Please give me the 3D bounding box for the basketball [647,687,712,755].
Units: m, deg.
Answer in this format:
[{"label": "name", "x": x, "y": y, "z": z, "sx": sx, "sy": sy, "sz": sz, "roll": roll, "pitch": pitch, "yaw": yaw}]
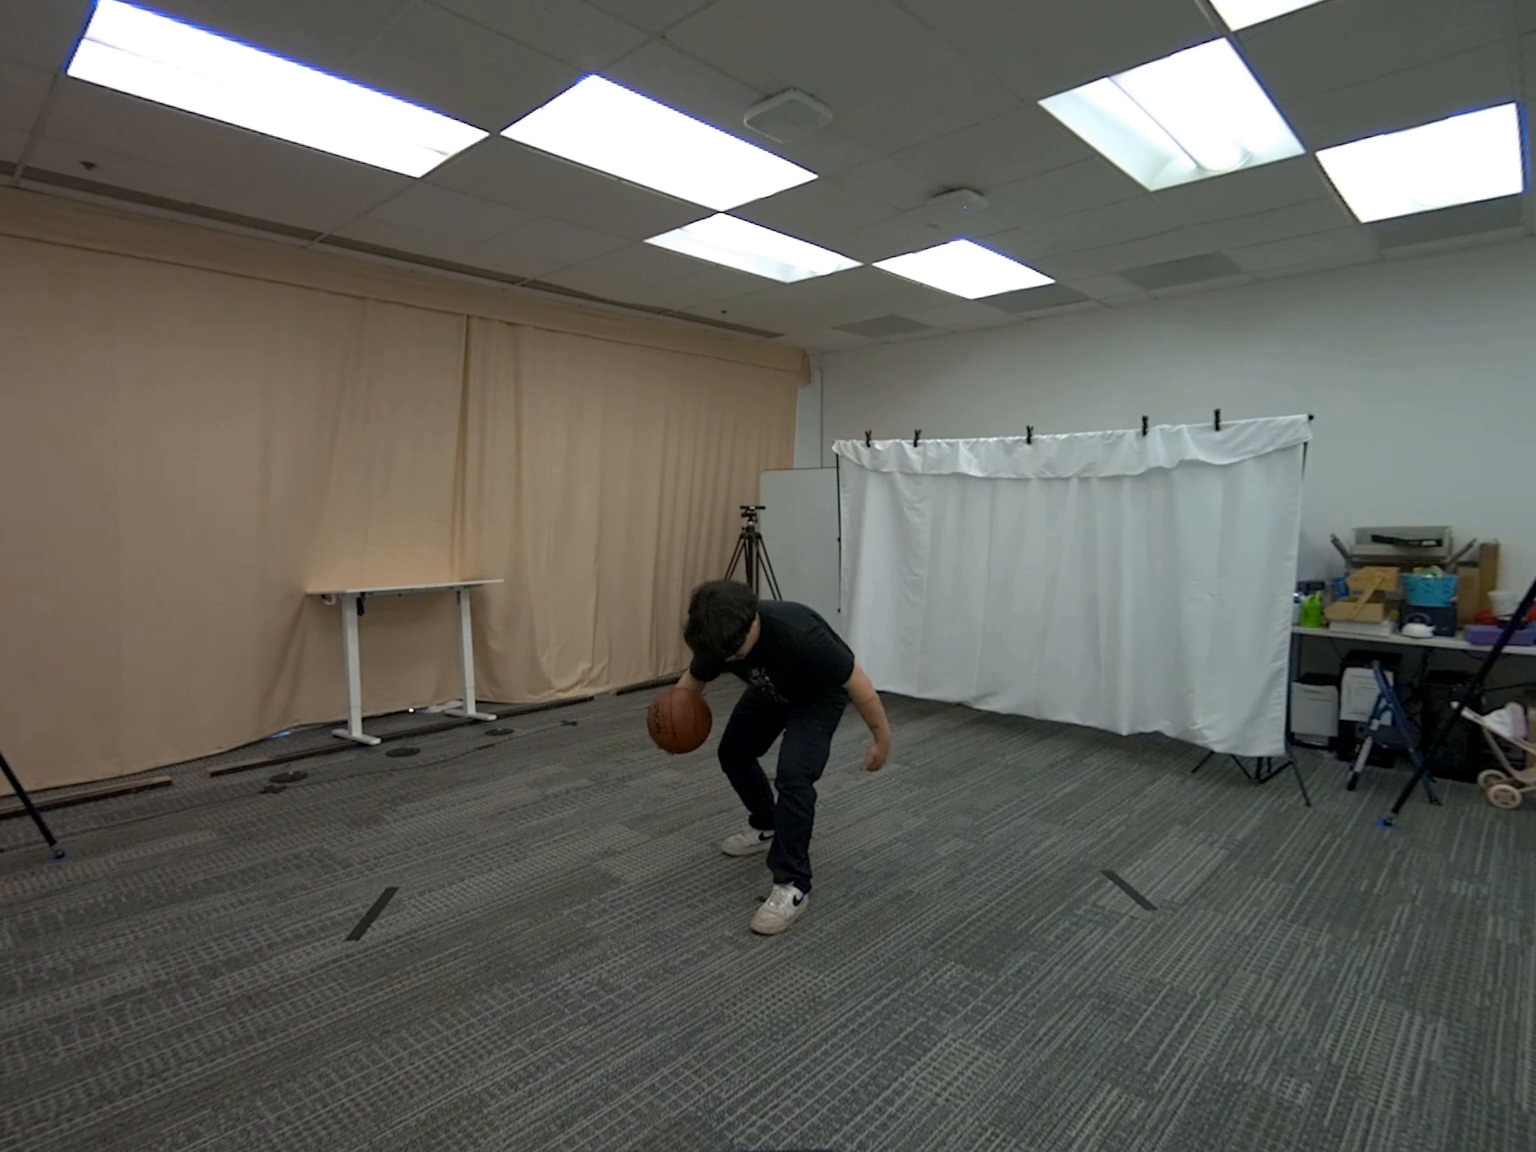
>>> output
[{"label": "basketball", "x": -0.313, "y": 0.529, "z": 3.065, "sx": 0.236, "sy": 0.235, "sz": 0.237, "roll": 0, "pitch": 4, "yaw": -2}]
